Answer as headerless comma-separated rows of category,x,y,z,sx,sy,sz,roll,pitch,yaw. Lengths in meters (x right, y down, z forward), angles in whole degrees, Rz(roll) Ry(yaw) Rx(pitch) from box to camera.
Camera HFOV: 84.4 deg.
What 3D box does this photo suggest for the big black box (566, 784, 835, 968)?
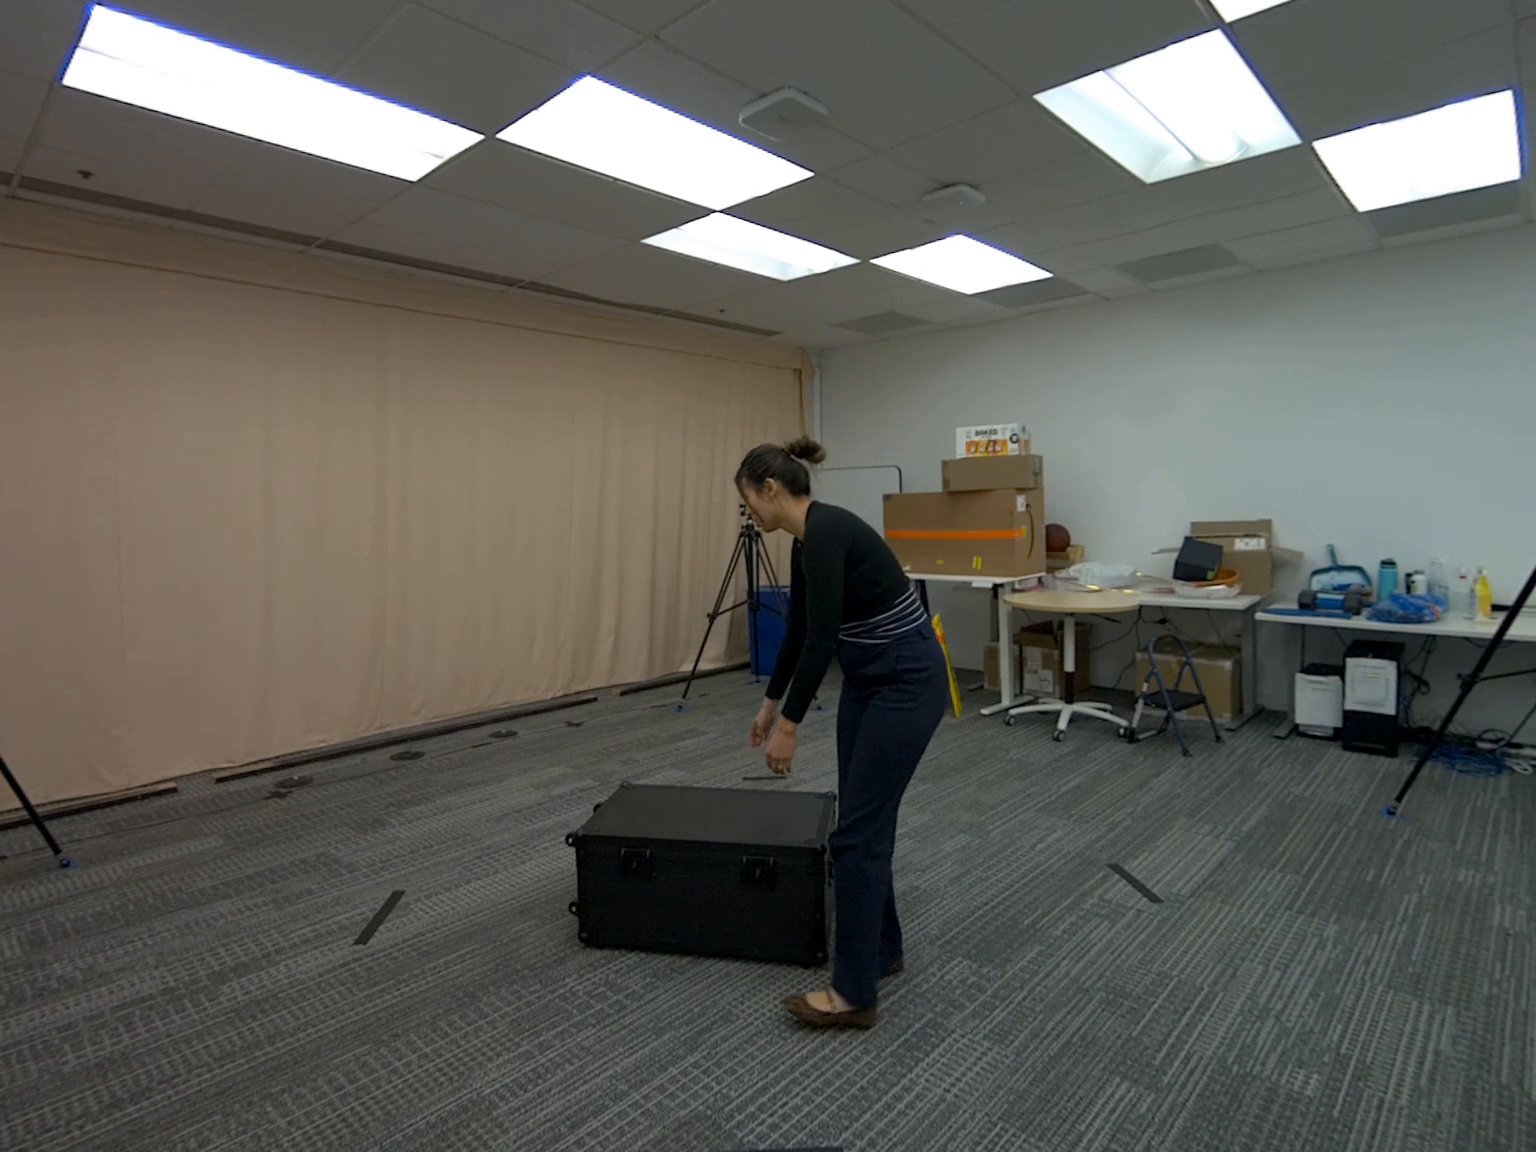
big black box,-0.211,0.964,2.819,0.872,0.395,0.516,1,4,11
